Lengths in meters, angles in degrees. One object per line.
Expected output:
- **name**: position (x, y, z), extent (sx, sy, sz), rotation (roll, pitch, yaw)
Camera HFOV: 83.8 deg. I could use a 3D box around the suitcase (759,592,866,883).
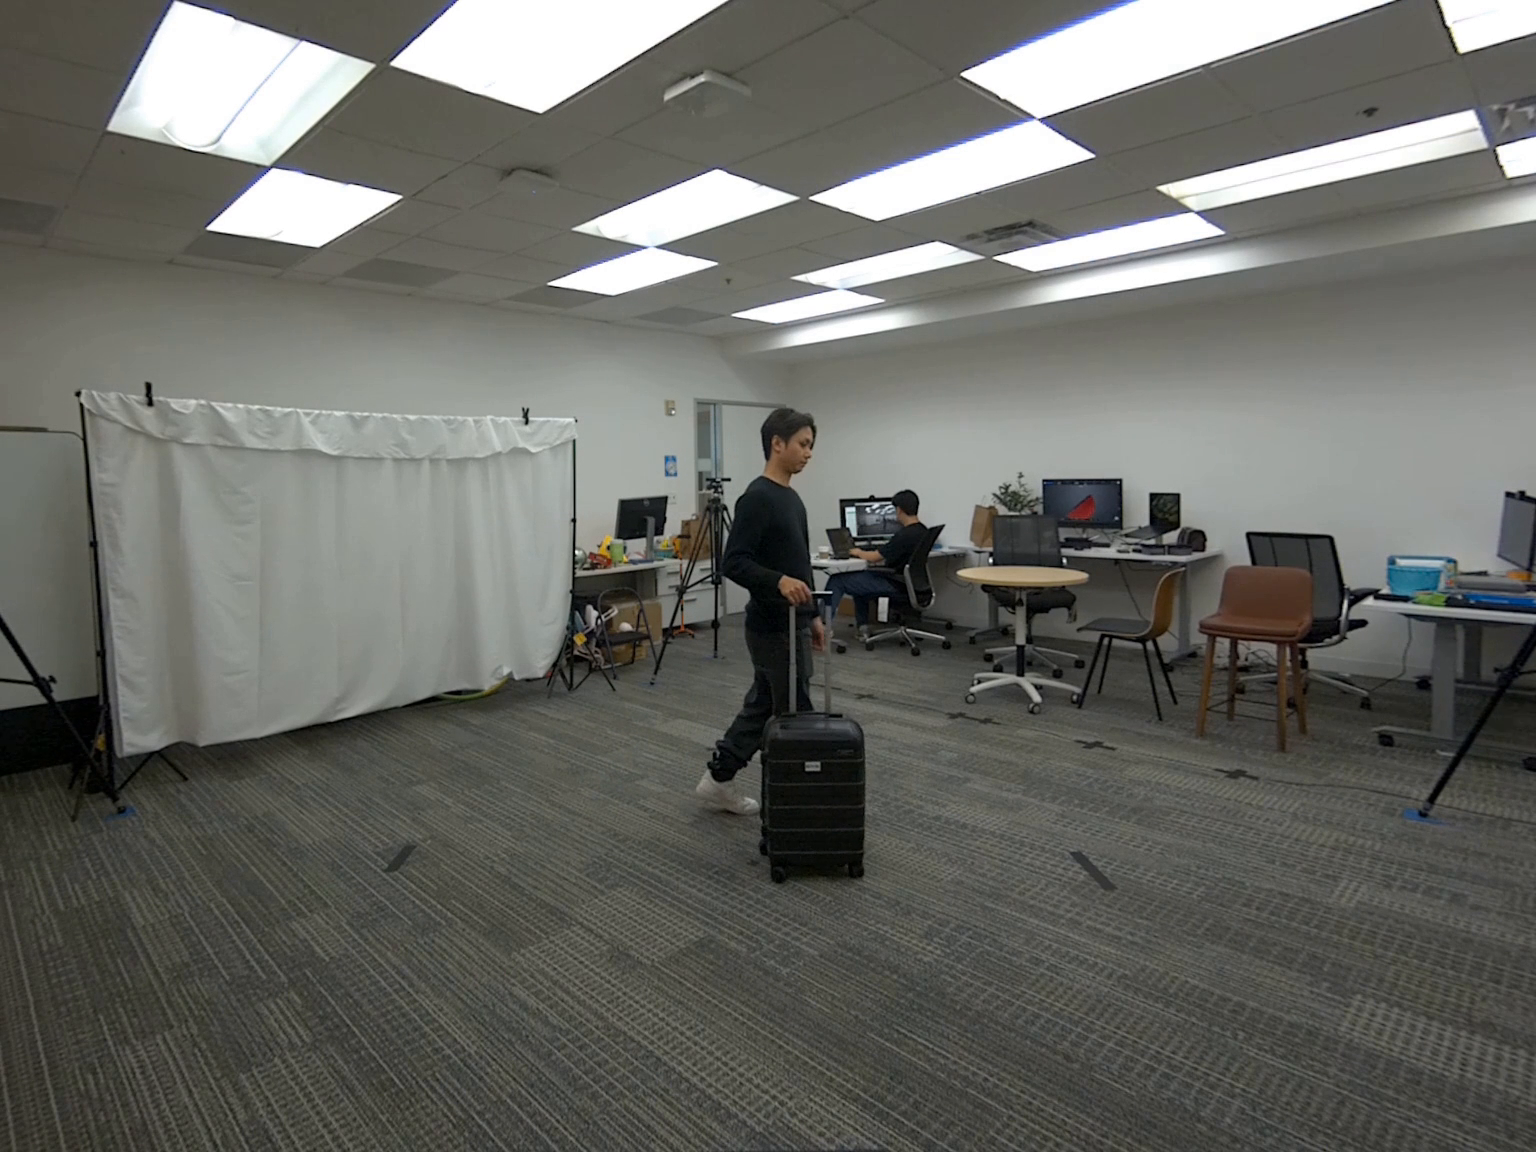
- **suitcase**: position (0.166, 0.575, 3.035), extent (0.384, 0.972, 0.258), rotation (0, 7, 0)
